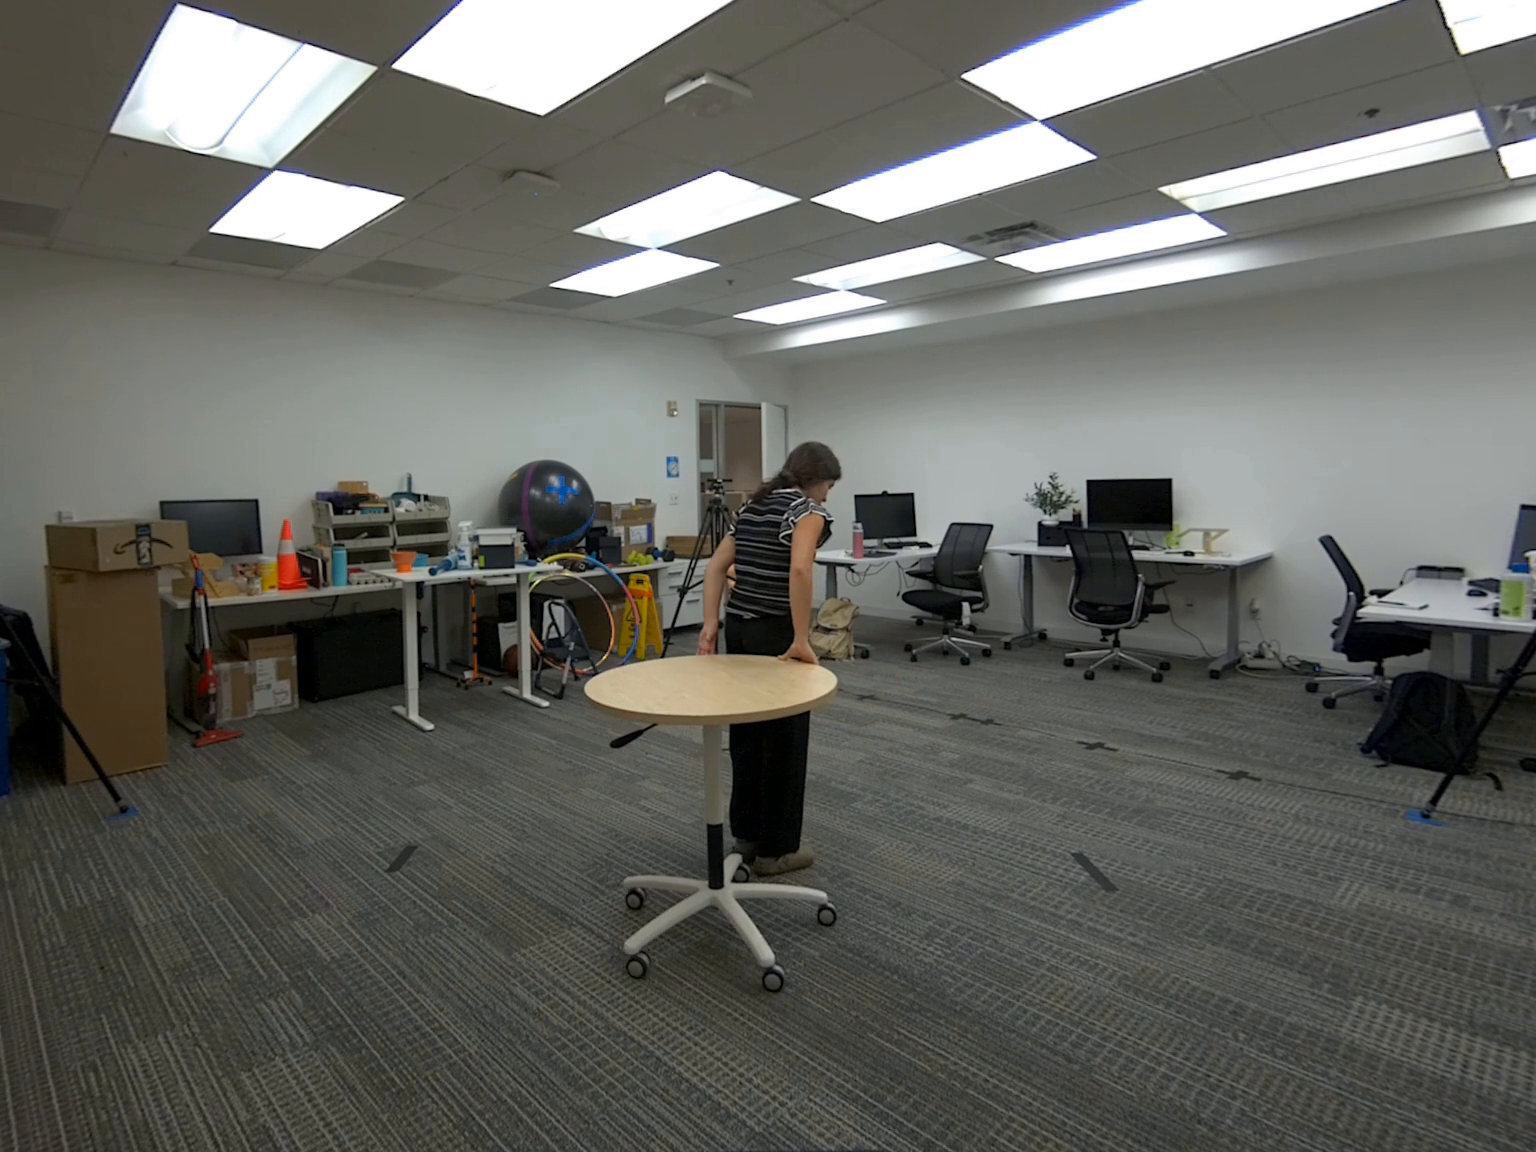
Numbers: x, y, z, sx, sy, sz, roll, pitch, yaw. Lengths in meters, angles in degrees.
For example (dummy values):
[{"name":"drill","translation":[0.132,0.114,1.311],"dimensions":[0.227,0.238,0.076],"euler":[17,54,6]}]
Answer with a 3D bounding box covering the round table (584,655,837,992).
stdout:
[{"name":"round table","translation":[-0.150,0.709,2.634],"dimensions":[0.784,0.783,0.790],"euler":[-1,6,-2]}]
